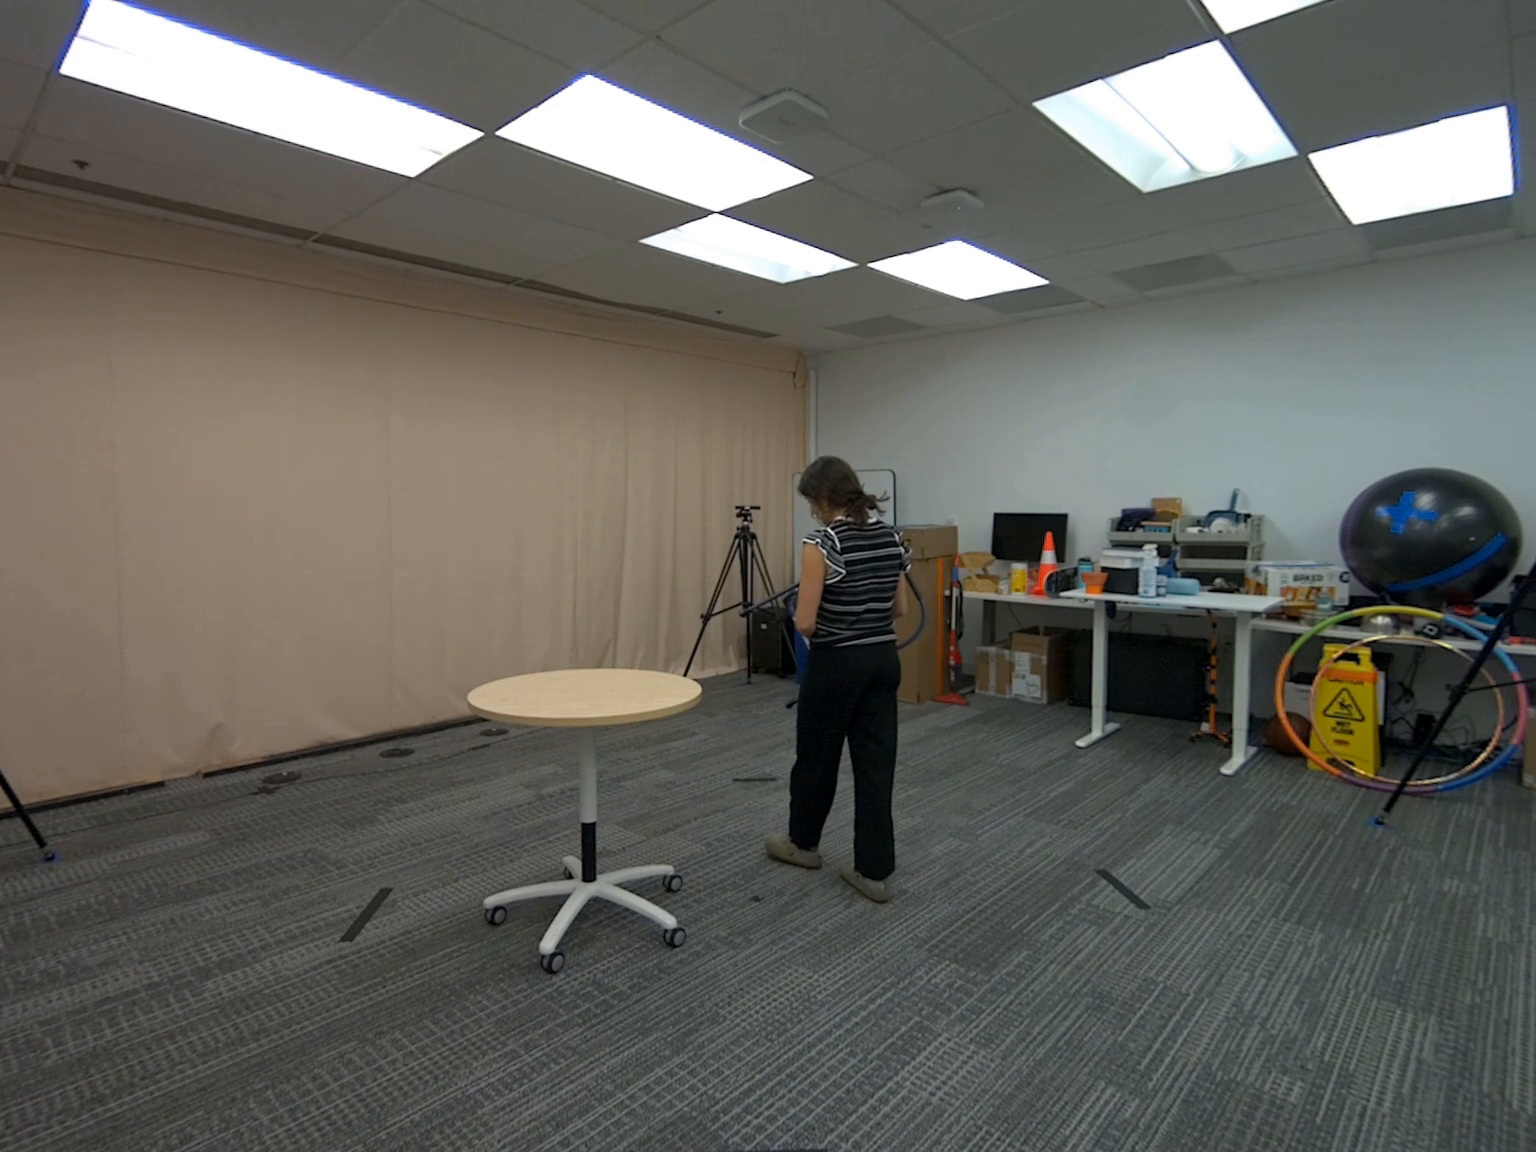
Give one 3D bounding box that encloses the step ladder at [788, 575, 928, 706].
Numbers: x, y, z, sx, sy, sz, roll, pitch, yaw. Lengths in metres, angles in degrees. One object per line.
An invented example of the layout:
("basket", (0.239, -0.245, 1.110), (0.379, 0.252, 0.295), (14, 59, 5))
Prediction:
("step ladder", (0.286, 0.165, 3.280), (0.615, 0.435, 0.340), (-32, -10, 33))
